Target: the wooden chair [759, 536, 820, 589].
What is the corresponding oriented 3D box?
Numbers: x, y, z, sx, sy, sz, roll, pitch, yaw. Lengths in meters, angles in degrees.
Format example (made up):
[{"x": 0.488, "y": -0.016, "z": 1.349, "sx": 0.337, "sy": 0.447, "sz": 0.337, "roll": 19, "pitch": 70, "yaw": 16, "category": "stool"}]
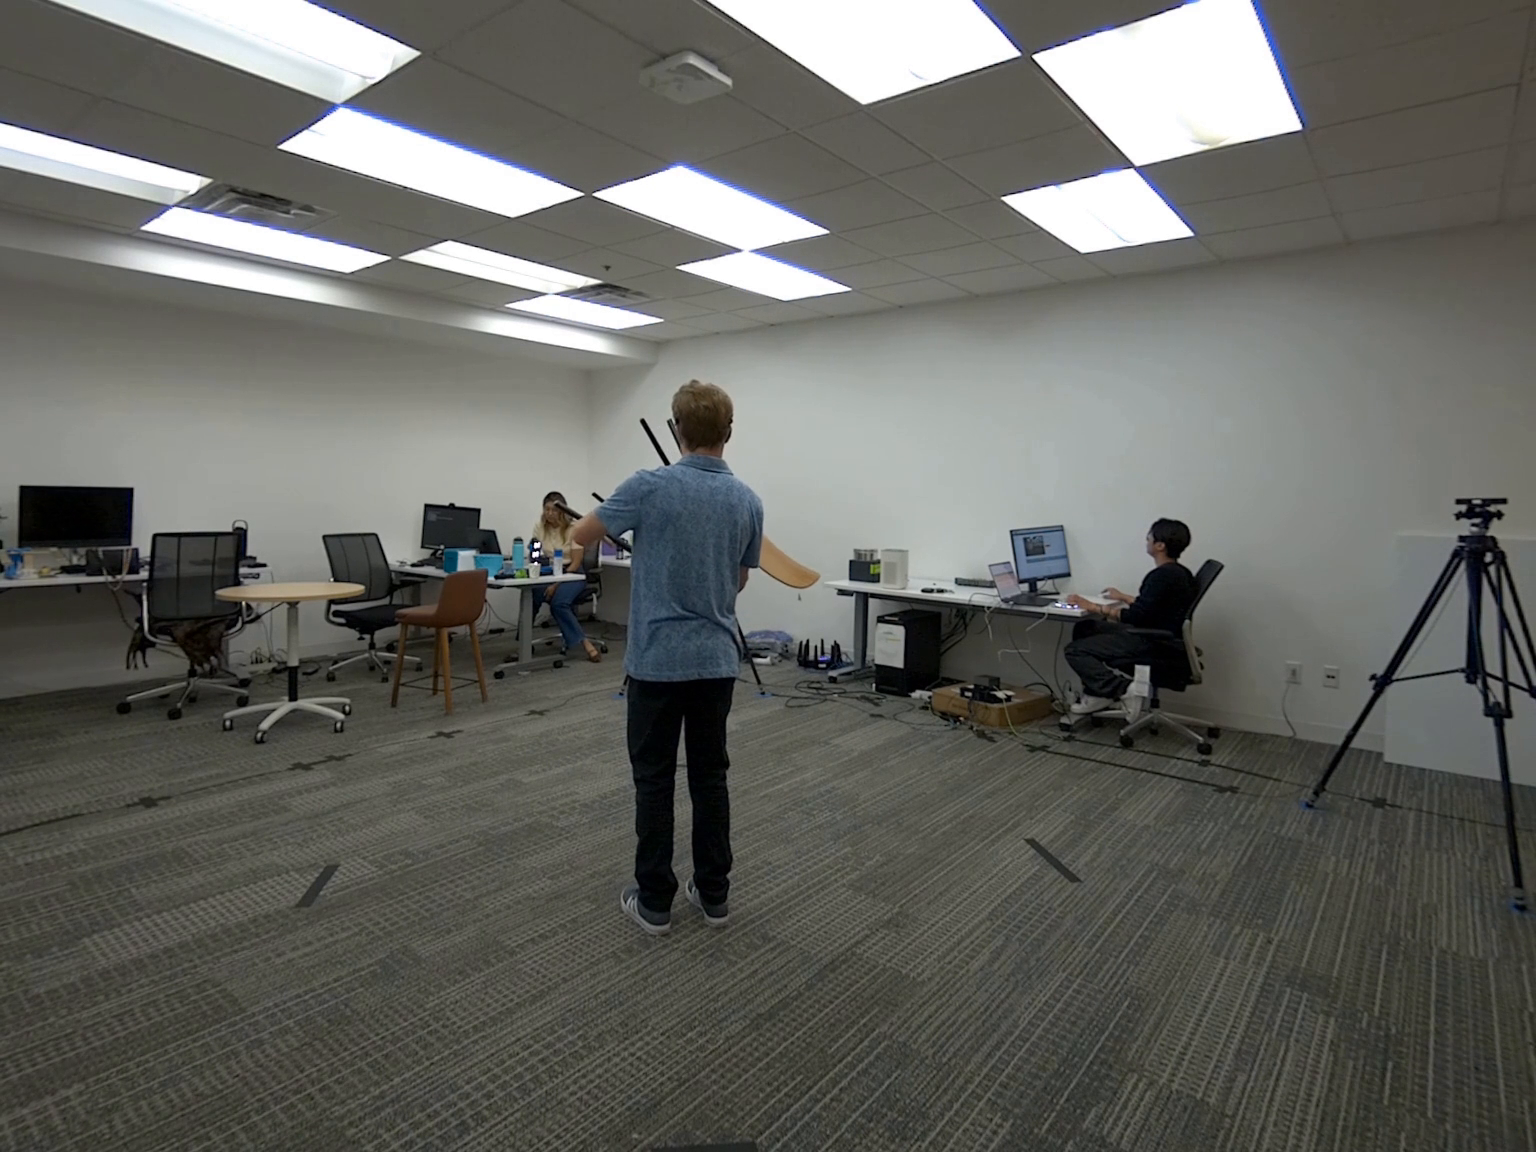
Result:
[{"x": -0.304, "y": -0.119, "z": 3.209, "sx": 0.880, "sy": 0.523, "sz": 0.476, "roll": 45, "pitch": 10, "yaw": 1, "category": "wooden chair"}]
